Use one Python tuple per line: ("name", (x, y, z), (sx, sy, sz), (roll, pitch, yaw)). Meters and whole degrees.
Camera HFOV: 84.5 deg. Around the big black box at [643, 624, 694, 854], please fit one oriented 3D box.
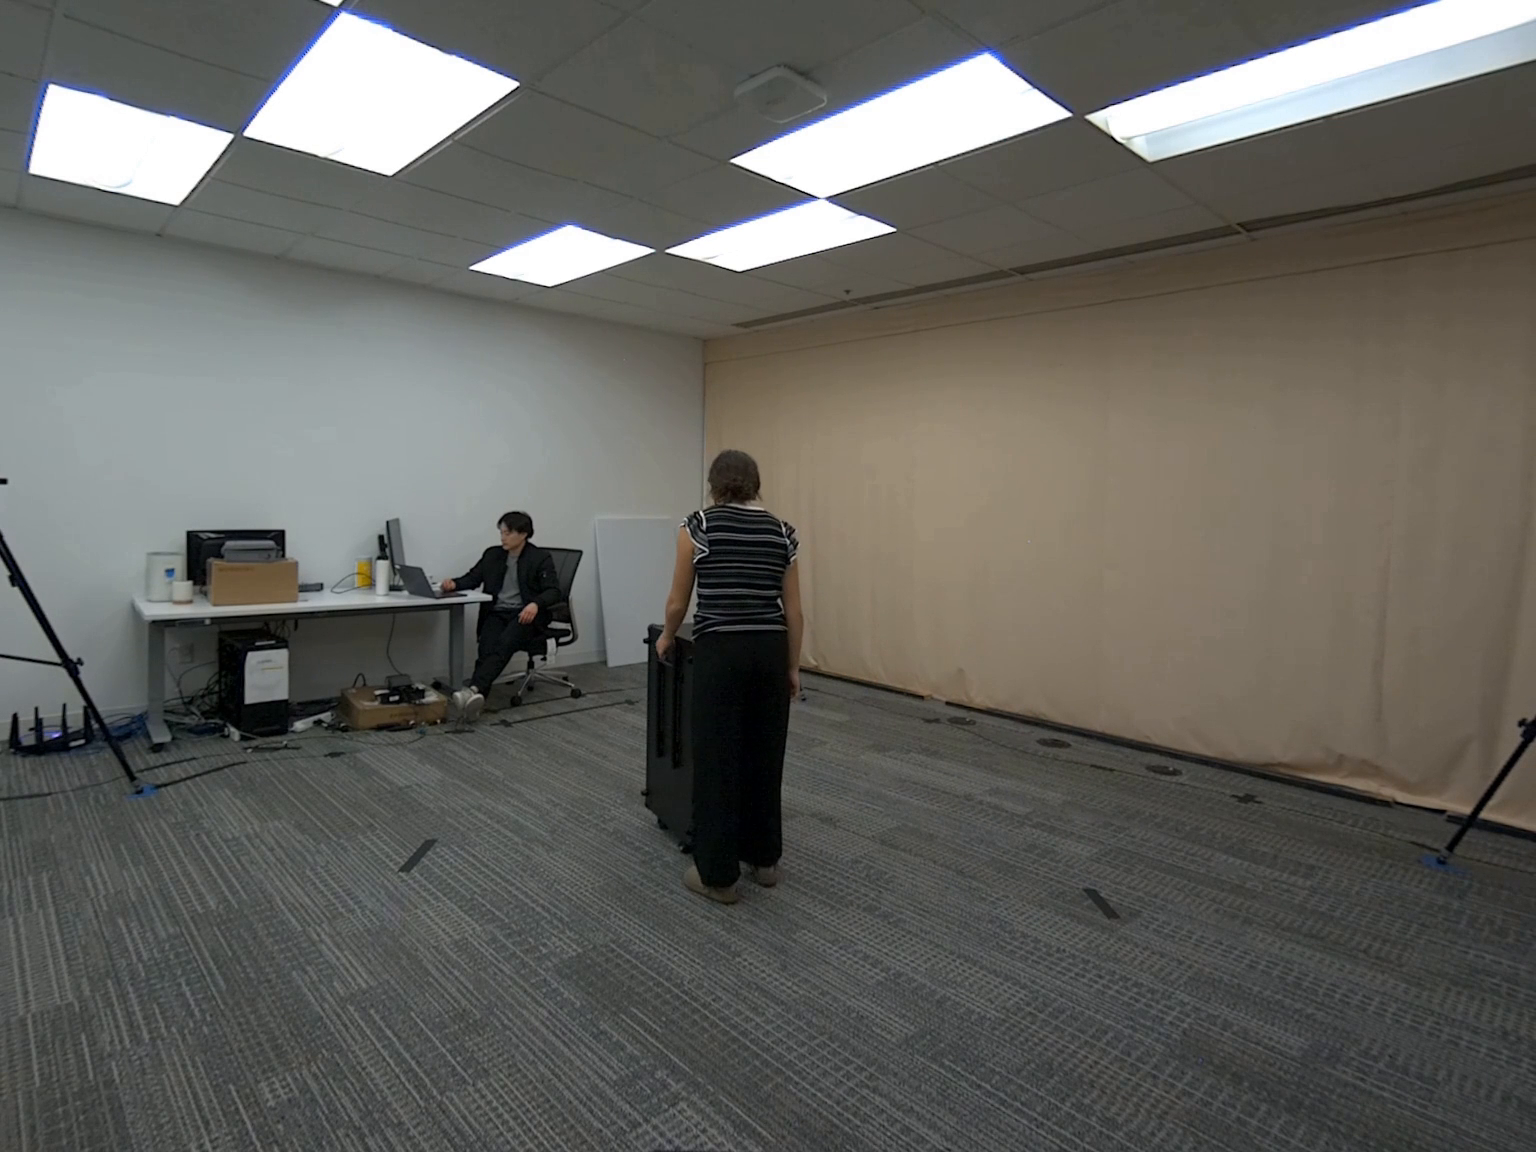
("big black box", (-0.264, 0.650, 3.445), (0.389, 0.859, 0.532), (-1, 4, -28))
